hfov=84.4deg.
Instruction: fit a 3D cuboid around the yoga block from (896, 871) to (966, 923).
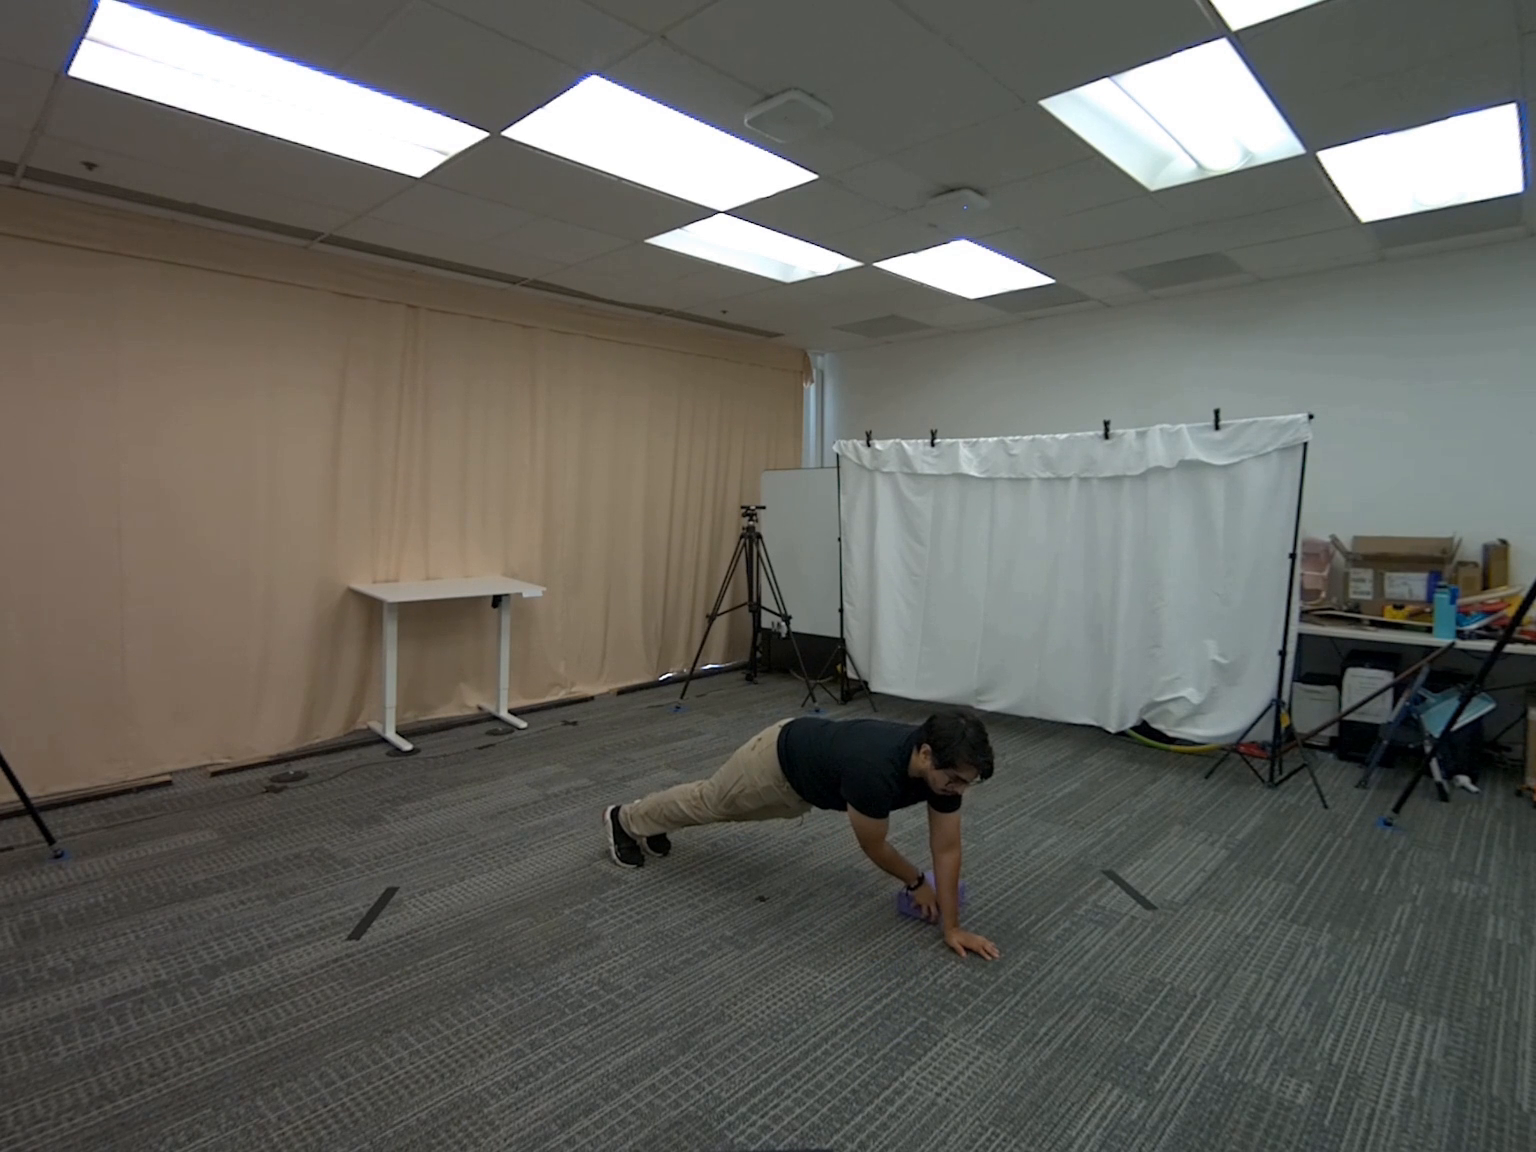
[{"bbox_3d":[0.576,1.107,2.912,0.154,0.076,0.223,6,8,37],"label":"yoga block"}]
